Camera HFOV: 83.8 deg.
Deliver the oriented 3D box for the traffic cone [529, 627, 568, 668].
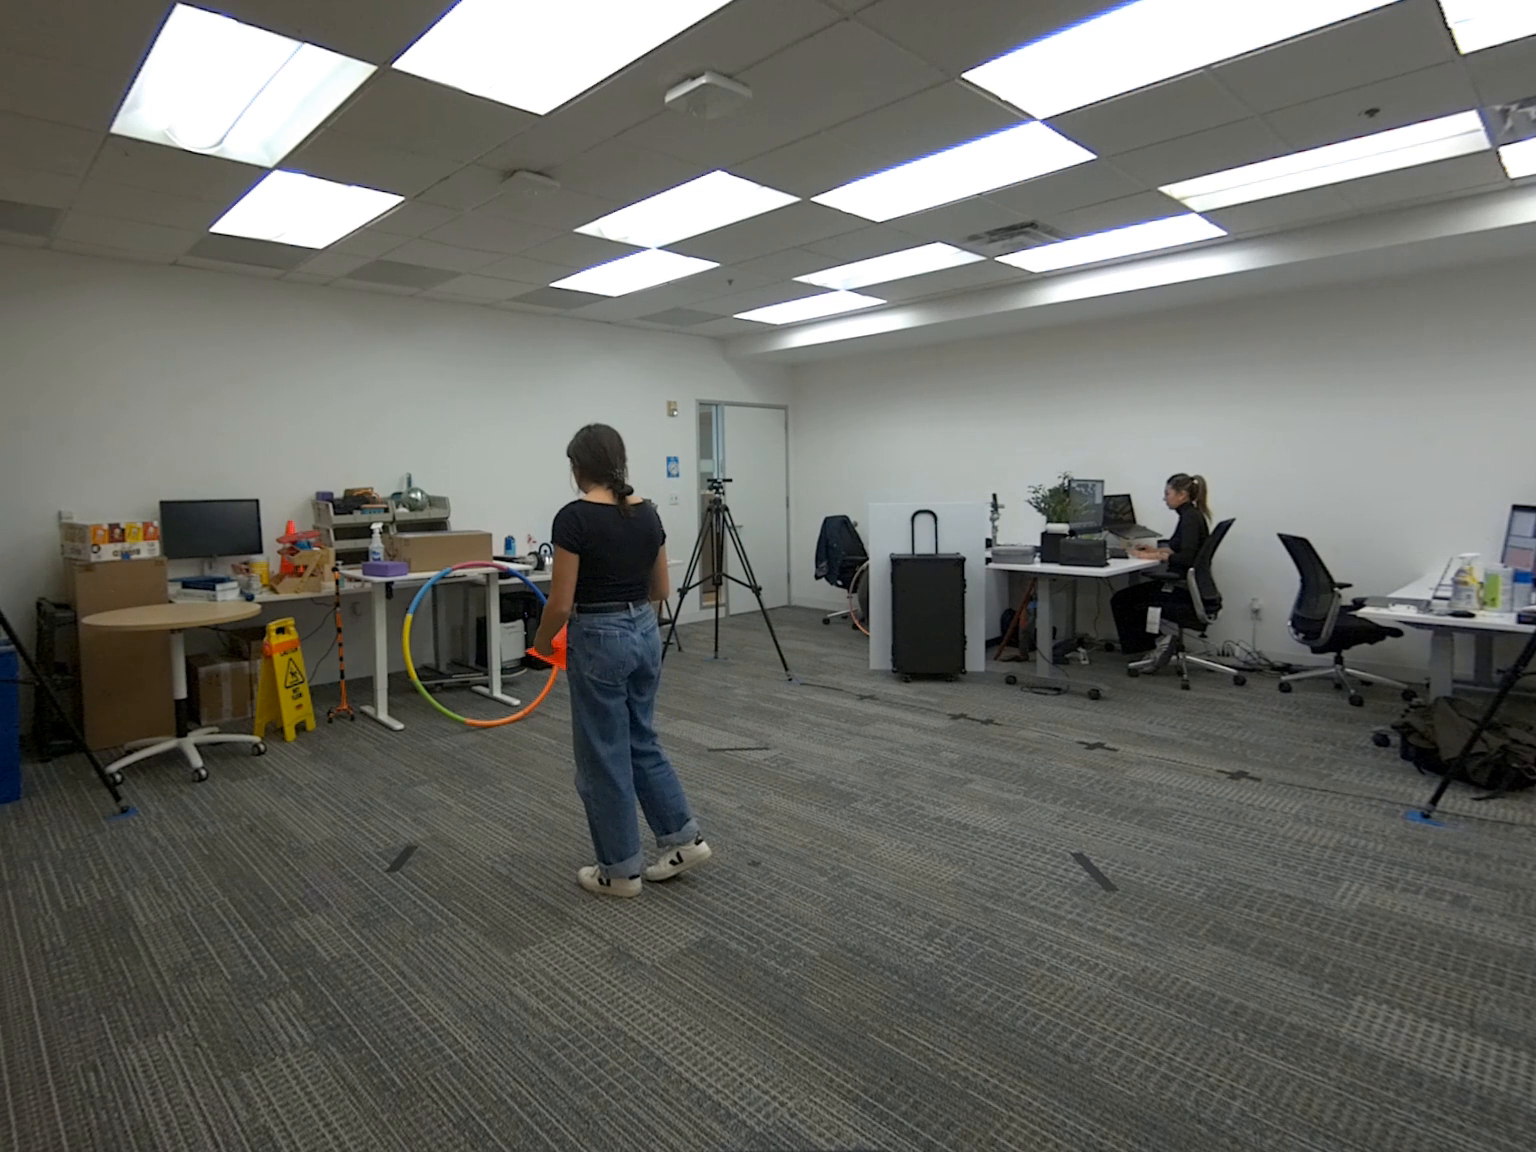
[{"bbox_3d":[-0.698,0.129,3.109,0.200,0.391,0.204,20,-29,-21],"label":"traffic cone"}]
